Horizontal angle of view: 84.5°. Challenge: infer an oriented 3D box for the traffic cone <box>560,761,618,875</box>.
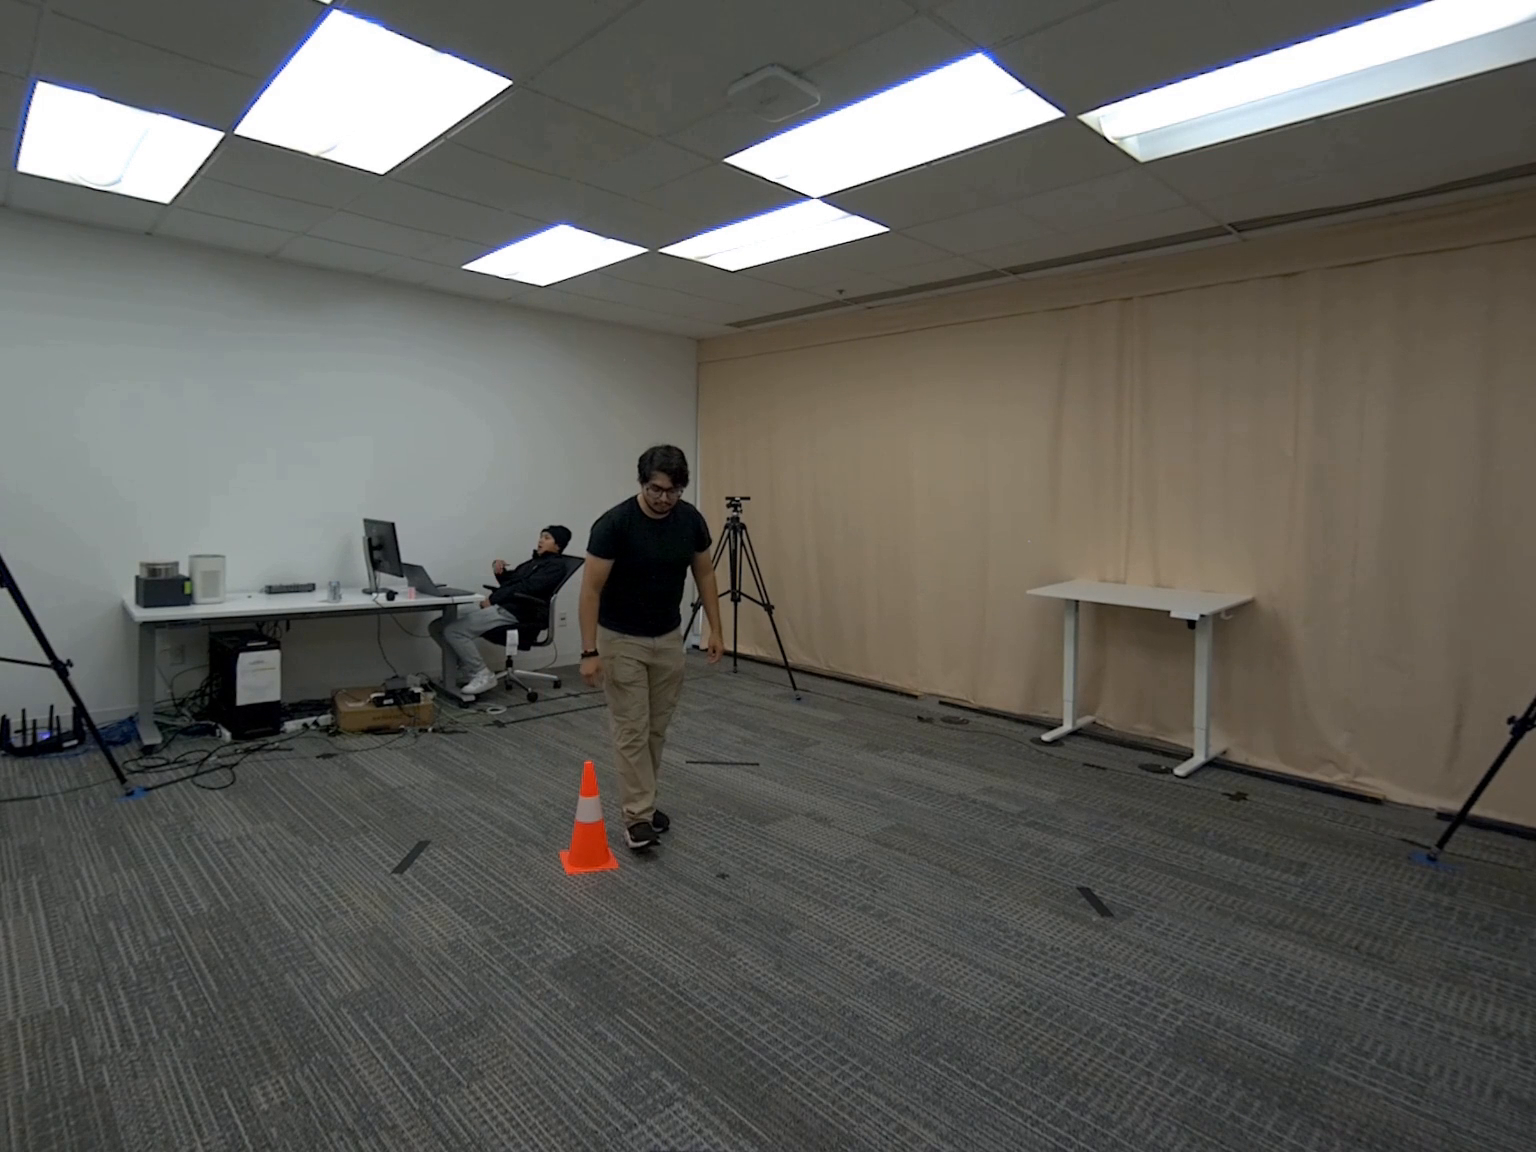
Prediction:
[{"bbox_3d":[-0.691,0.900,3.208,0.201,0.383,0.208,1,2,-17],"label":"traffic cone"}]
